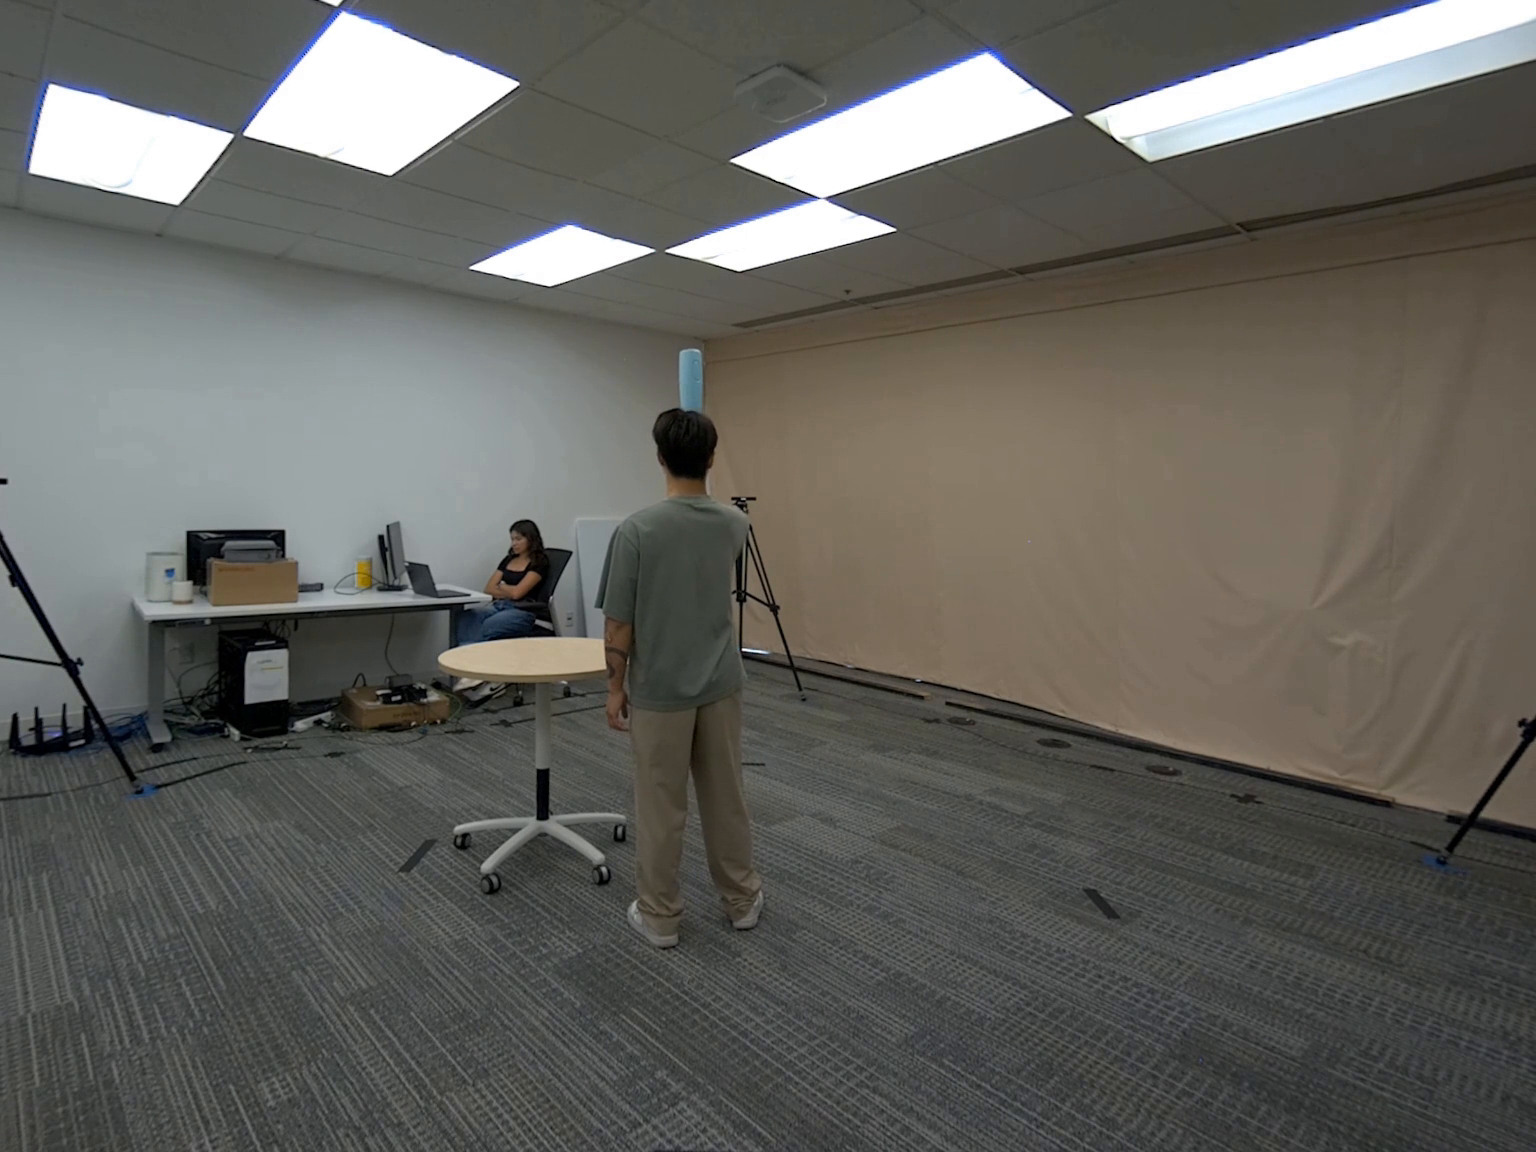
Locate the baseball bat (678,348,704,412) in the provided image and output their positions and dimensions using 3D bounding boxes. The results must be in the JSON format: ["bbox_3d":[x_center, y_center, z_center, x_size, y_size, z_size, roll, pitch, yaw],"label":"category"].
[{"bbox_3d":[-0.303,-0.599,3.246,0.089,0.542,0.089,-1,2,-1],"label":"baseball bat"}]
